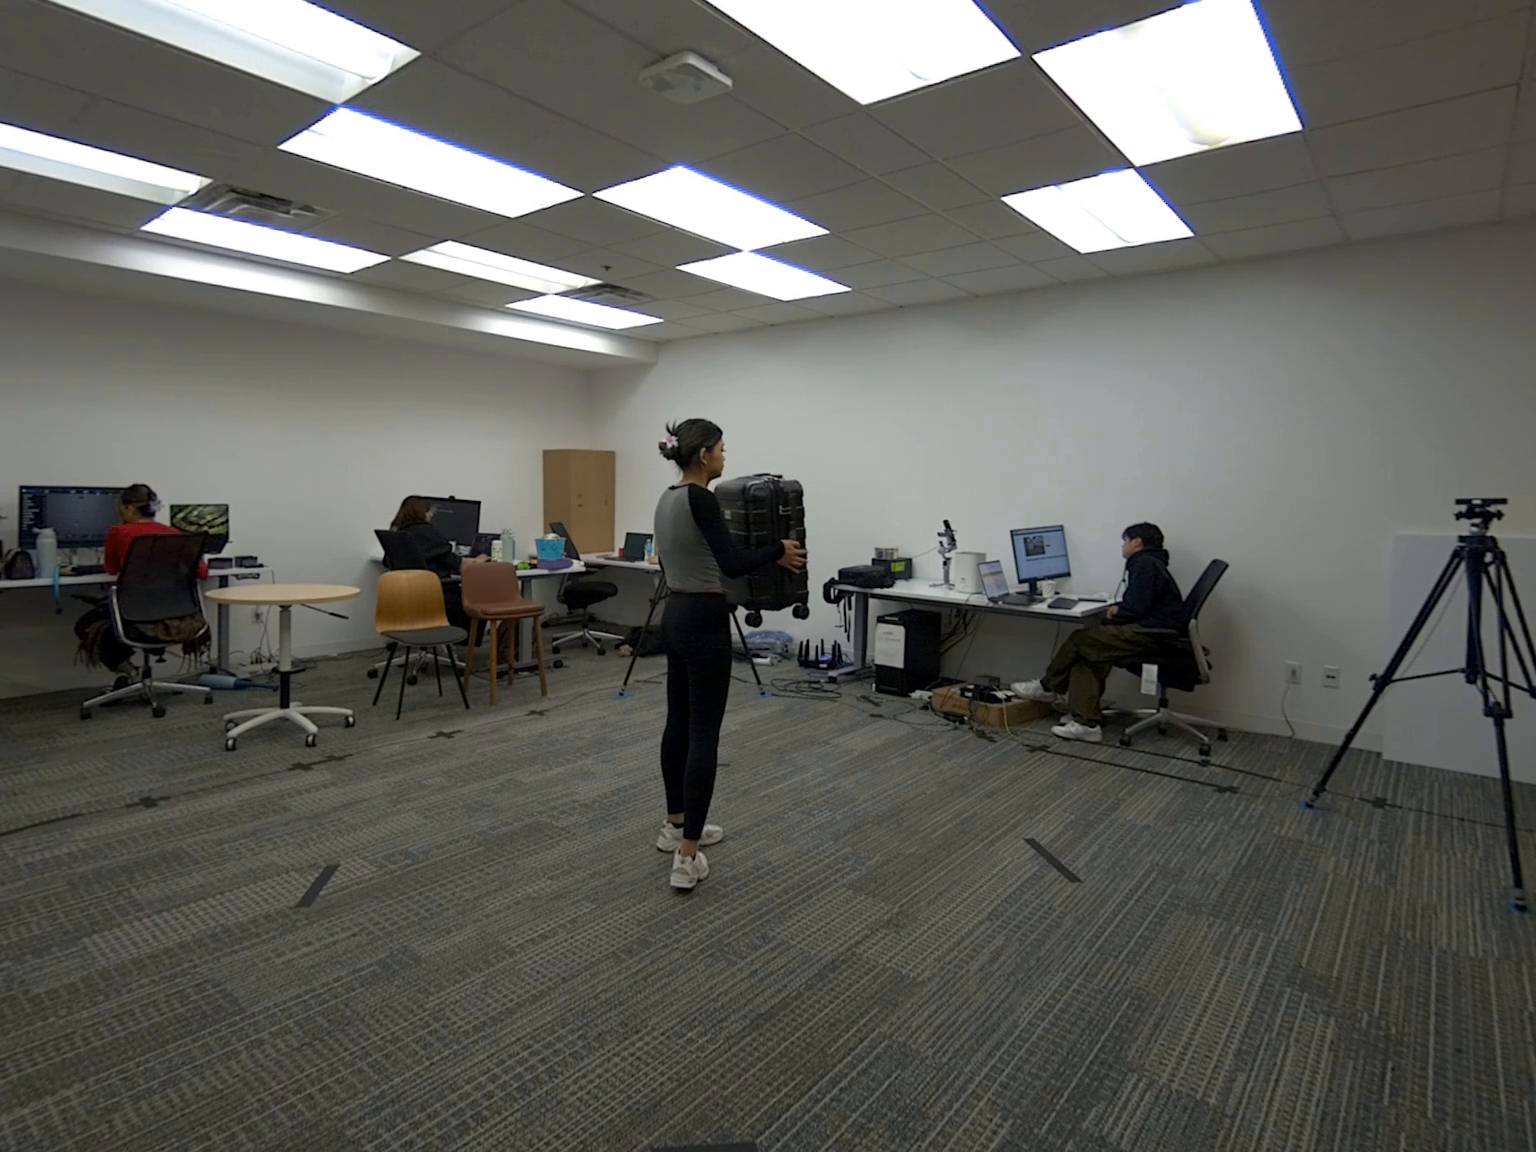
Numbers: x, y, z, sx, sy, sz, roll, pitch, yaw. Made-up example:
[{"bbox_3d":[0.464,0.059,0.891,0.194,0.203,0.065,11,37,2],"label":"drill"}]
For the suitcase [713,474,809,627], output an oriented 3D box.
[{"bbox_3d":[-0.041,-0.121,3.307,0.243,0.546,0.387,-6,8,-27],"label":"suitcase"}]
